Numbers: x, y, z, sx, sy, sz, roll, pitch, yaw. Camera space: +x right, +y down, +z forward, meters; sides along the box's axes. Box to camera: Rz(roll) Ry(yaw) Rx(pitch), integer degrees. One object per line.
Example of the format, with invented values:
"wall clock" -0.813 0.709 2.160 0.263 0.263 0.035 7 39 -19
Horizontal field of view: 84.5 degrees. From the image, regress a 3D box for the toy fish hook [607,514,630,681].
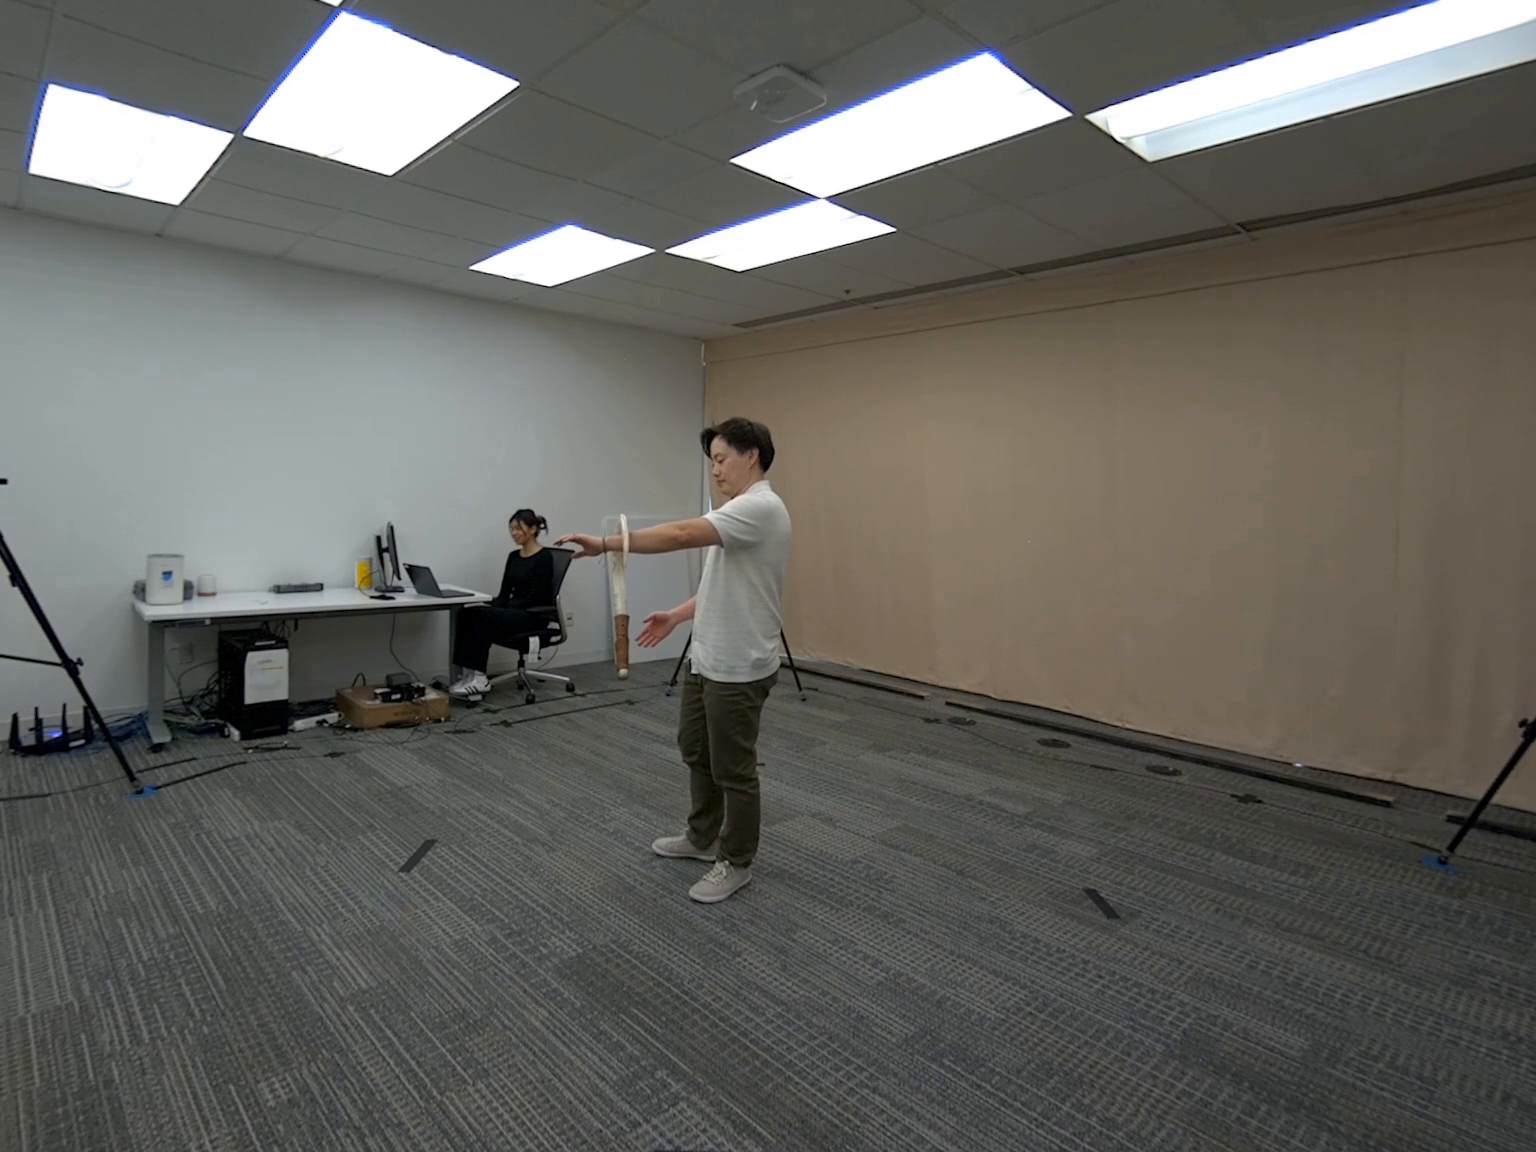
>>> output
"toy fish hook" -0.457 0.061 2.603 0.048 0.514 0.223 -1 -19 -12
